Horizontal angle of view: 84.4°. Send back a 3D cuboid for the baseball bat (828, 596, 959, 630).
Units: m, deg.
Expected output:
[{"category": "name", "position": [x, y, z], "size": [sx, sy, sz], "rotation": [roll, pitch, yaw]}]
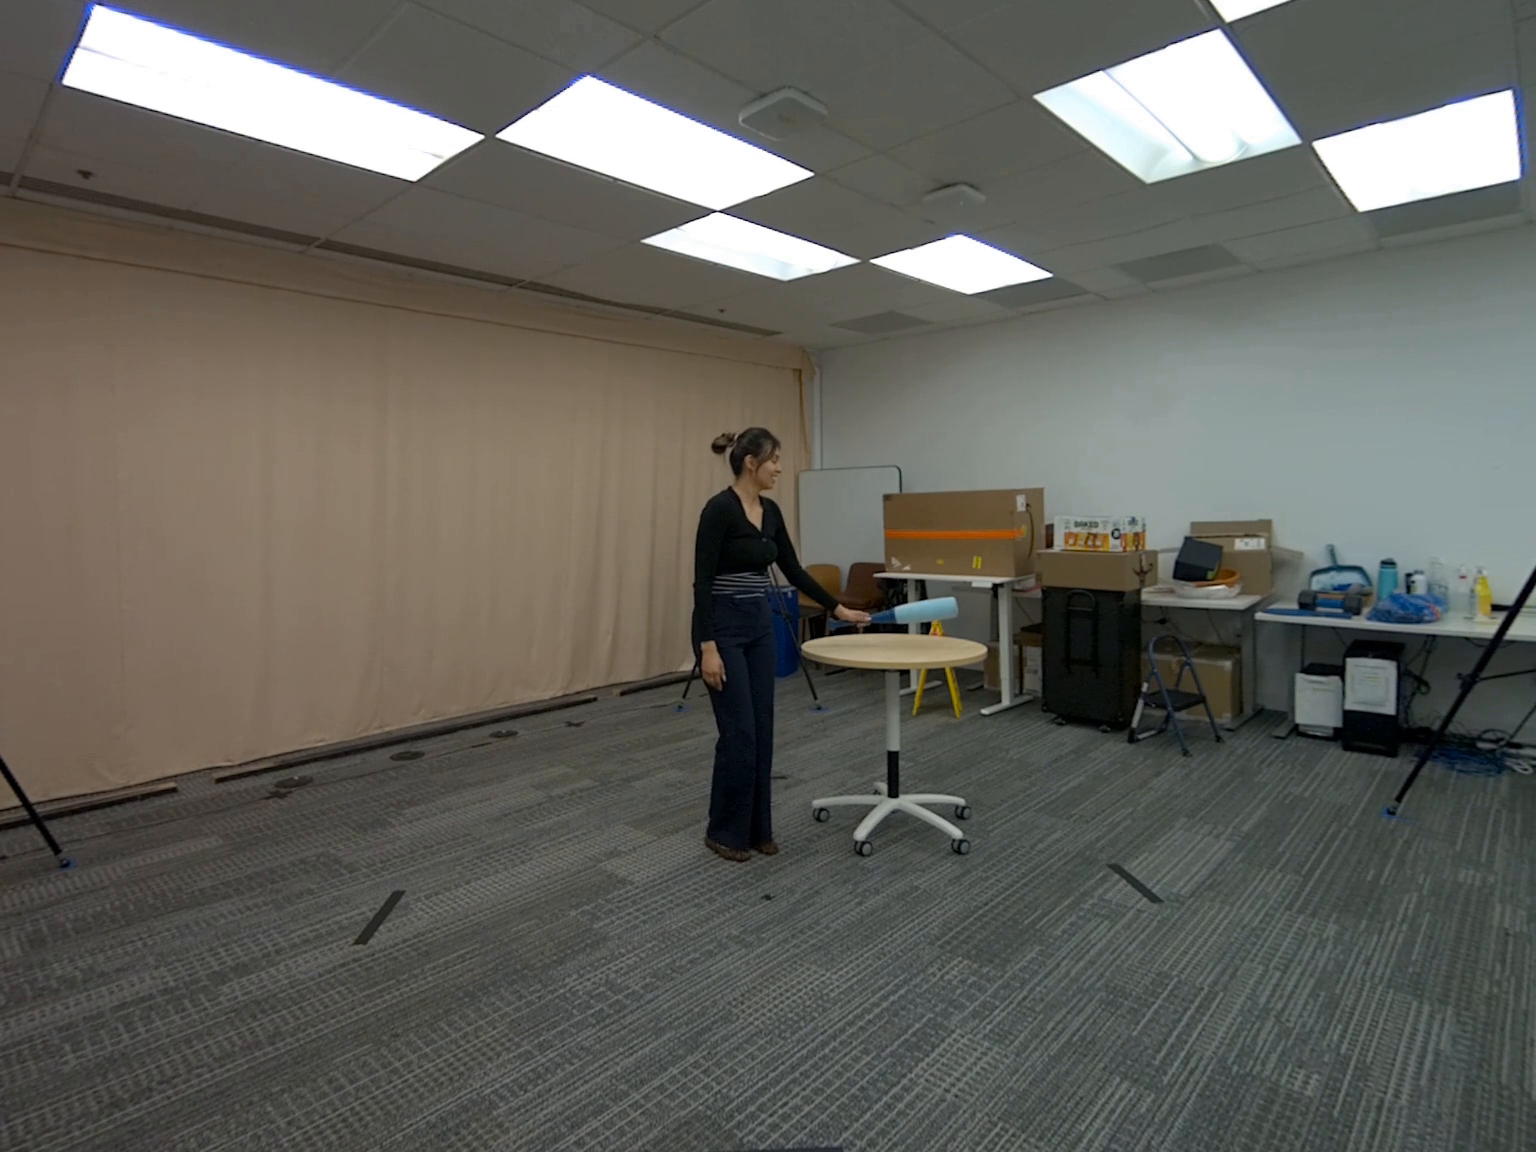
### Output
[{"category": "baseball bat", "position": [0.512, 0.161, 3.538], "size": [0.552, 0.089, 0.088], "rotation": [-10, 1, 17]}]
